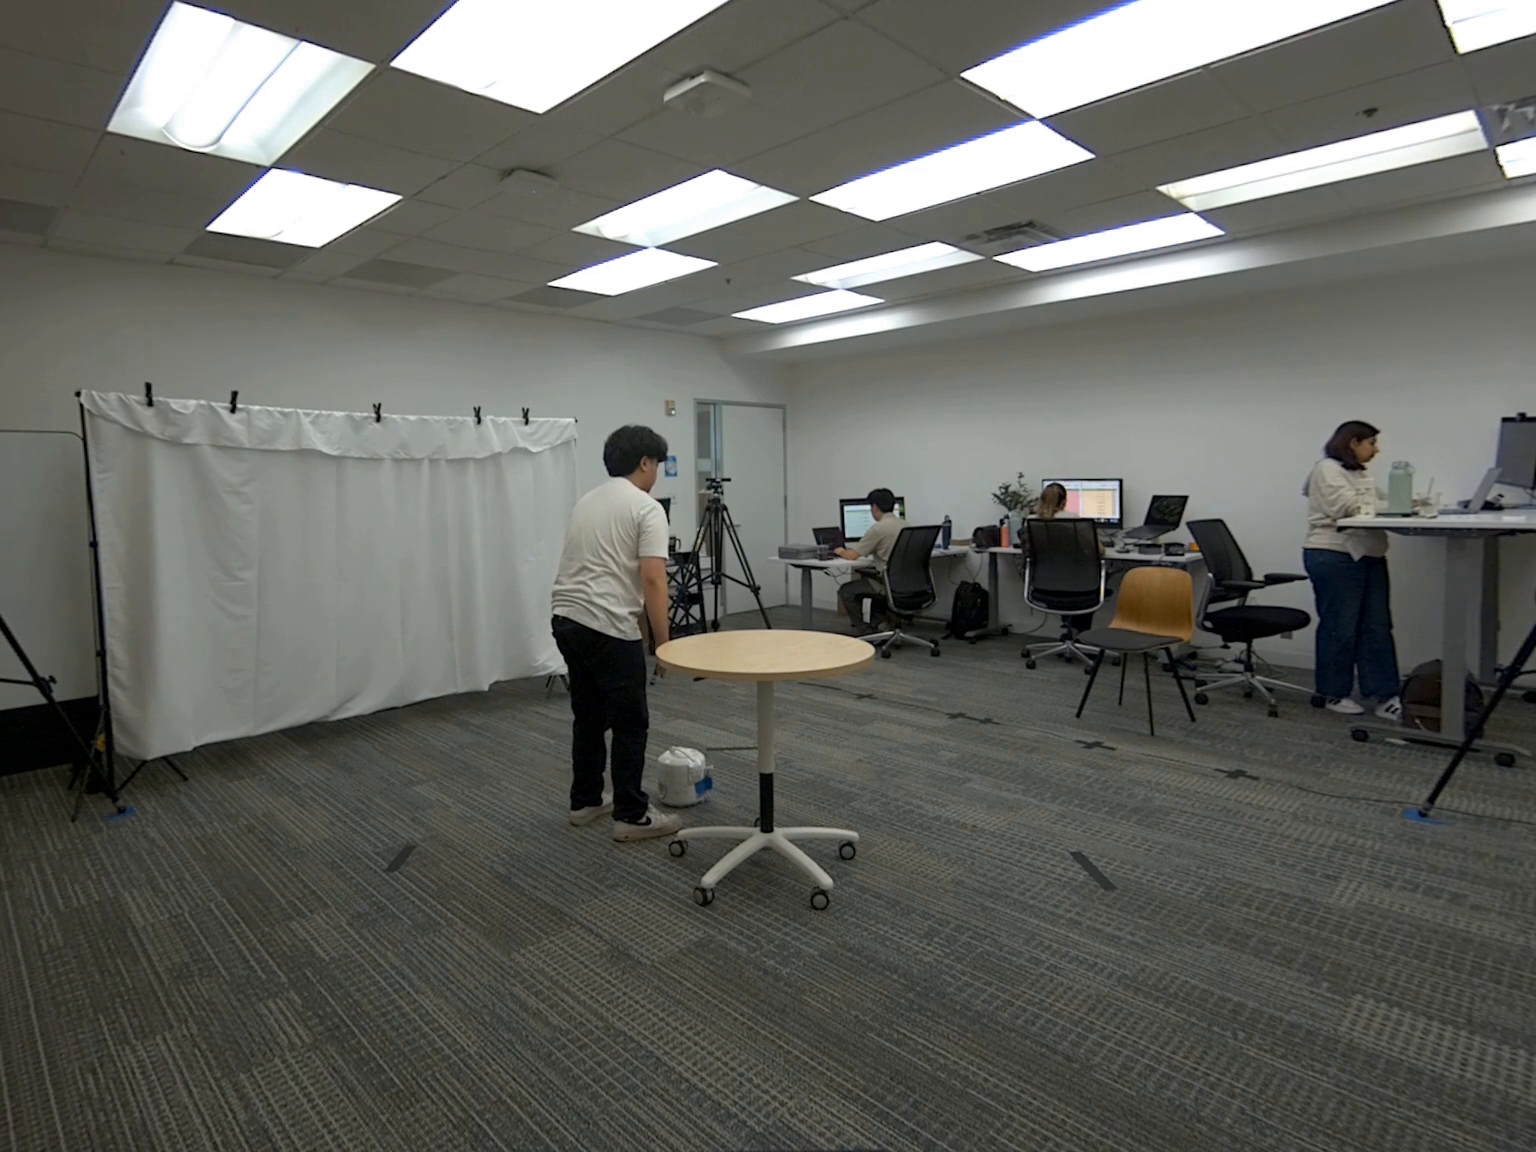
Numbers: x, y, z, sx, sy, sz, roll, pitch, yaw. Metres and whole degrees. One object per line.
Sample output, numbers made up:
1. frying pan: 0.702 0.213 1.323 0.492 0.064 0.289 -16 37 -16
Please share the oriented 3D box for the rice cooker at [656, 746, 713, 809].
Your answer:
1. rice cooker: -0.377 0.861 3.719 0.211 0.232 0.227 -4 5 -40
